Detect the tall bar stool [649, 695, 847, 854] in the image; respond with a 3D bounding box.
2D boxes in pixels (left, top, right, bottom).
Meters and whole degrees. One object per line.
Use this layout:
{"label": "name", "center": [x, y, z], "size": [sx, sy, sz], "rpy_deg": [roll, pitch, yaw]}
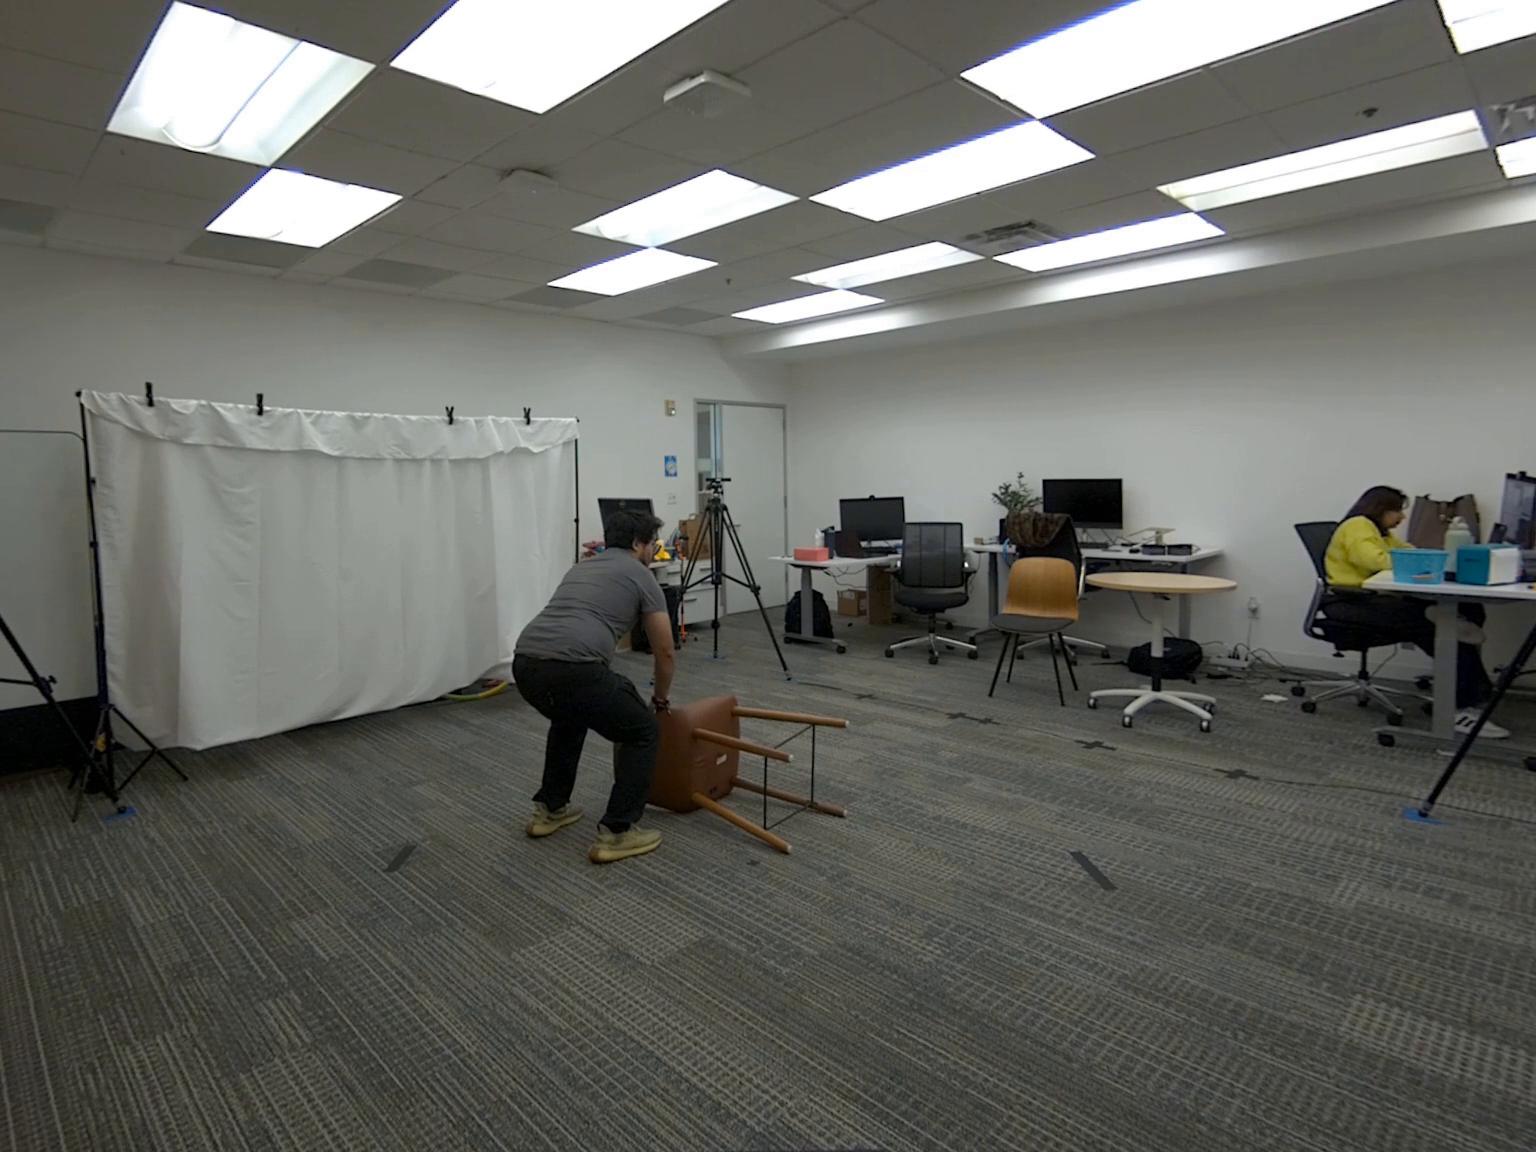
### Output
{"label": "tall bar stool", "center": [-0.160, 0.775, 3.572], "size": [0.916, 0.453, 0.457], "rpy_deg": [6, 9, 34]}
